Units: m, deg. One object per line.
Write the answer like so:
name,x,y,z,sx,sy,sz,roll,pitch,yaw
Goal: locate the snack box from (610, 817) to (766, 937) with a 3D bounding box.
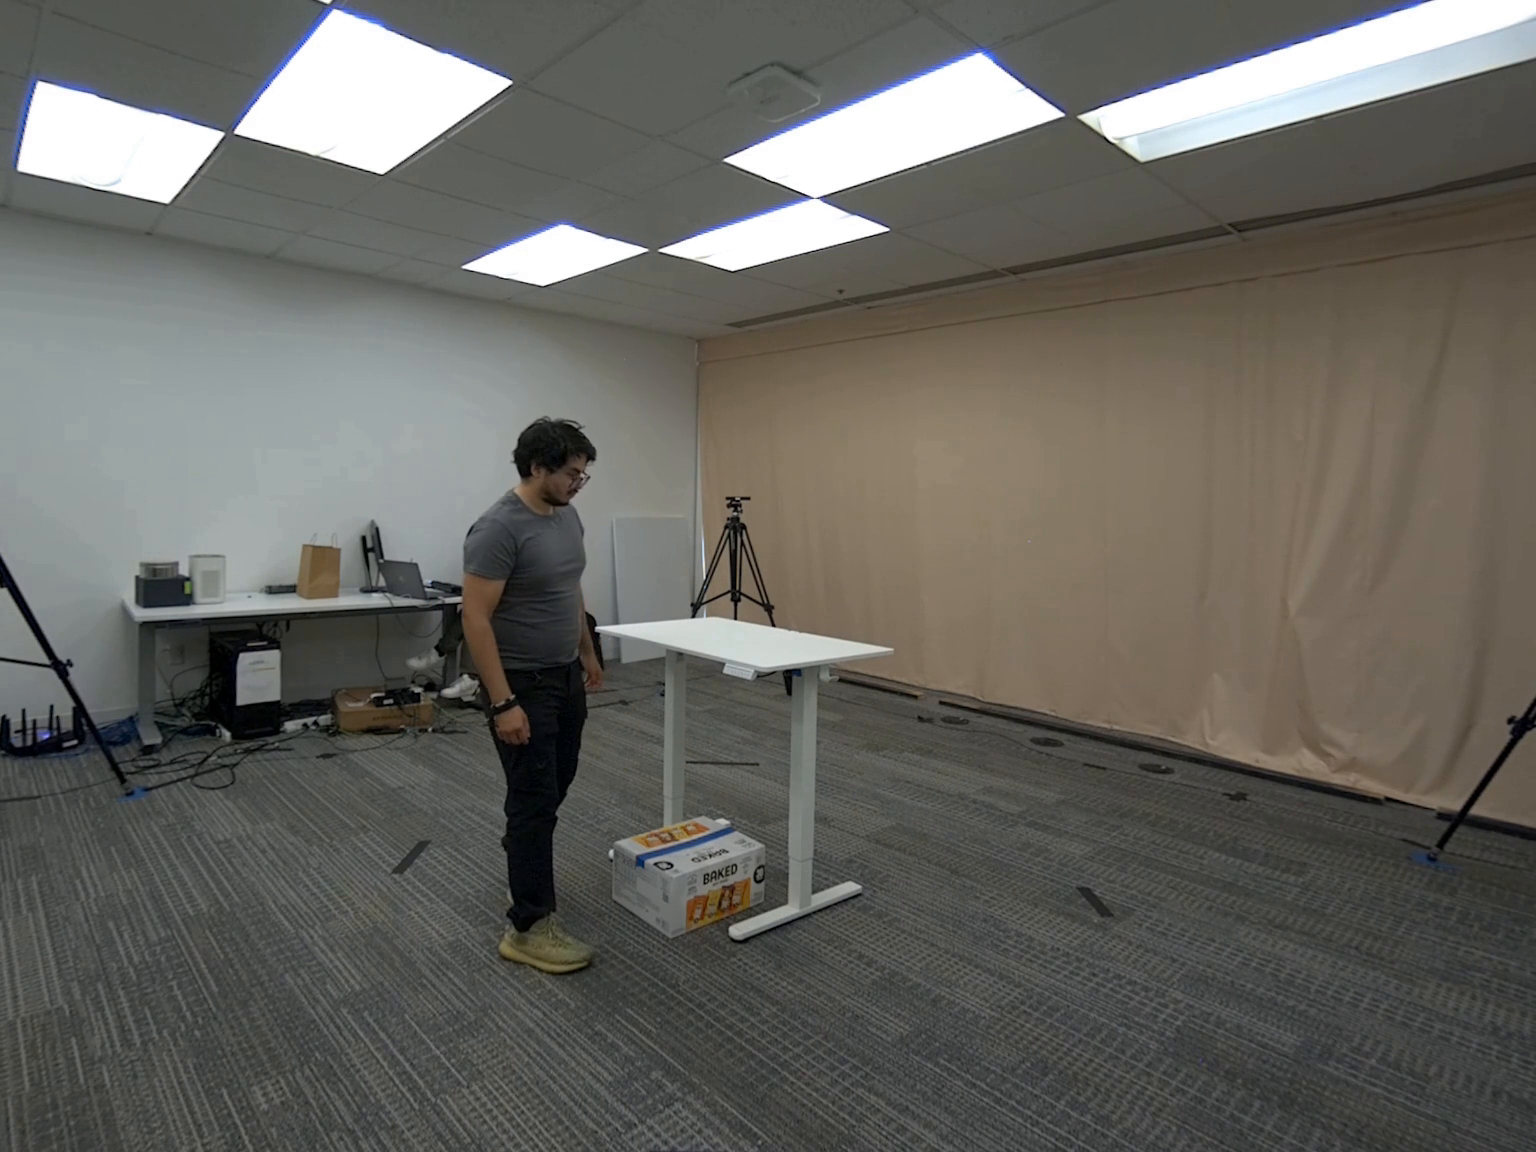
snack box,-0.276,1.025,2.891,0.396,0.205,0.349,-3,6,-42
